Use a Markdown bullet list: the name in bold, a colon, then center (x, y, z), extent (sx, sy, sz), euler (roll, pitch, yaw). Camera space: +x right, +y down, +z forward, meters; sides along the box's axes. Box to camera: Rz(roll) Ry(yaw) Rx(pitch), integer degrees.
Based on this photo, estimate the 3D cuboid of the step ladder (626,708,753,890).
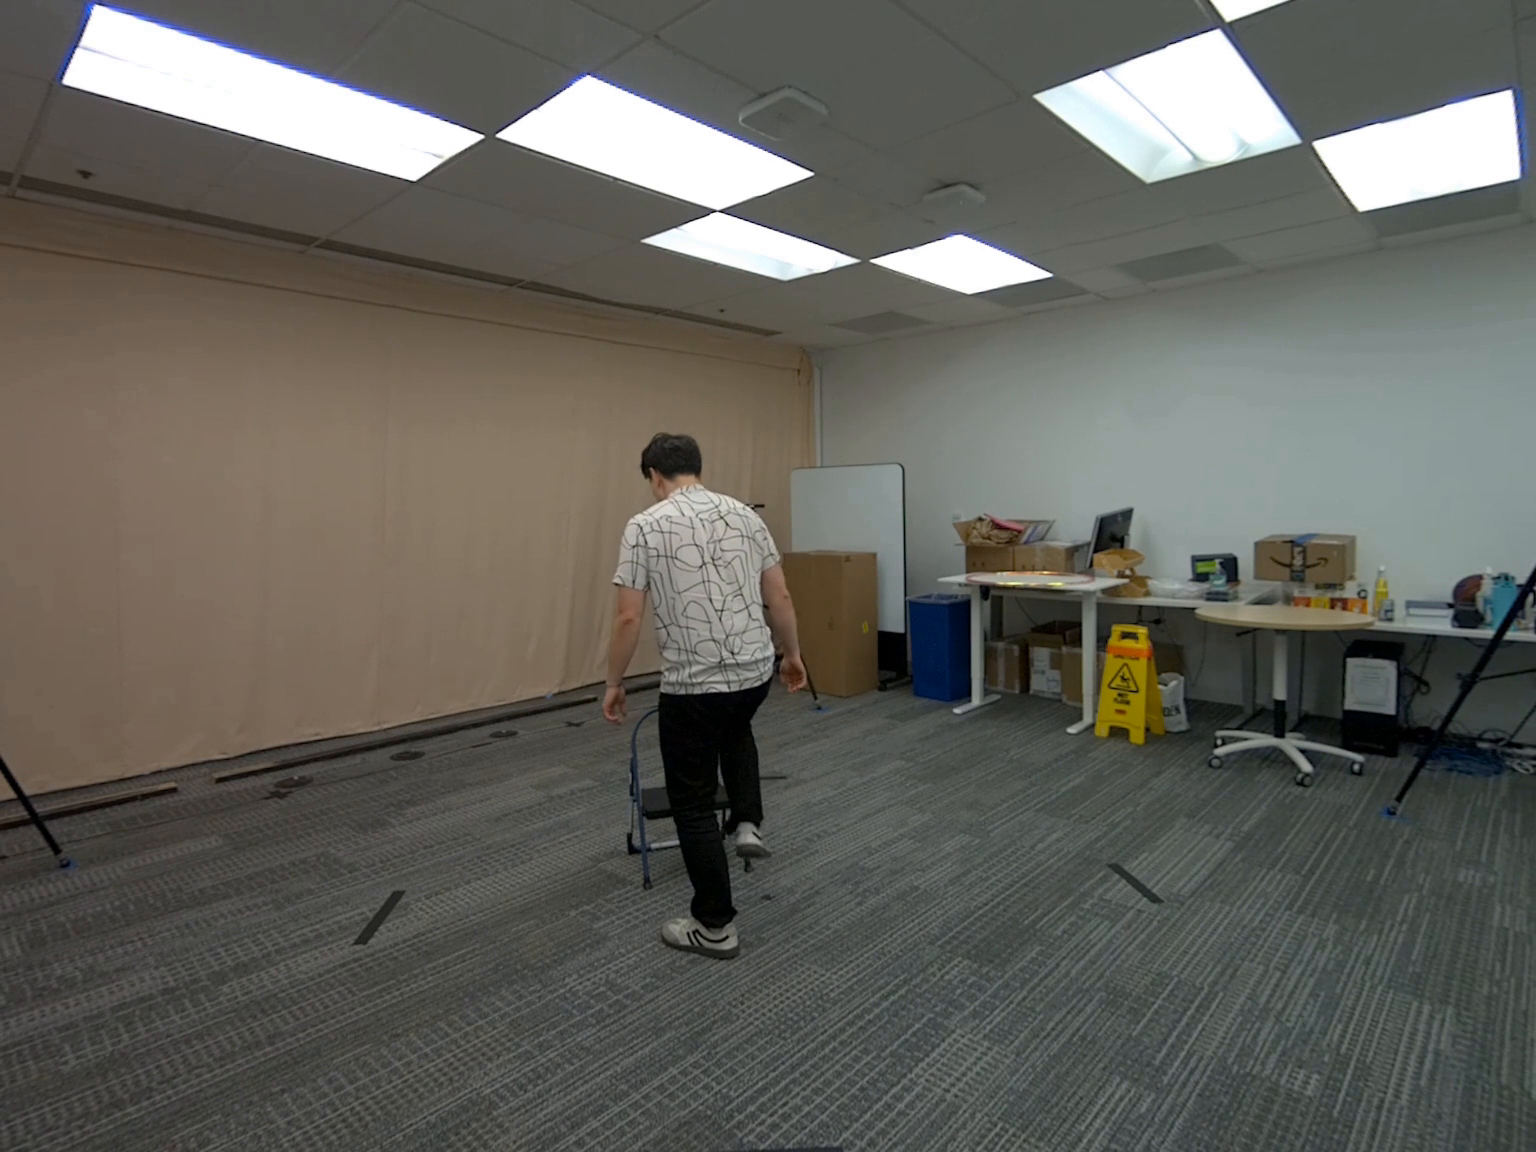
- **step ladder**: center (-0.320, 0.817, 3.281), extent (0.422, 0.605, 0.357), euler (-2, 4, -20)
